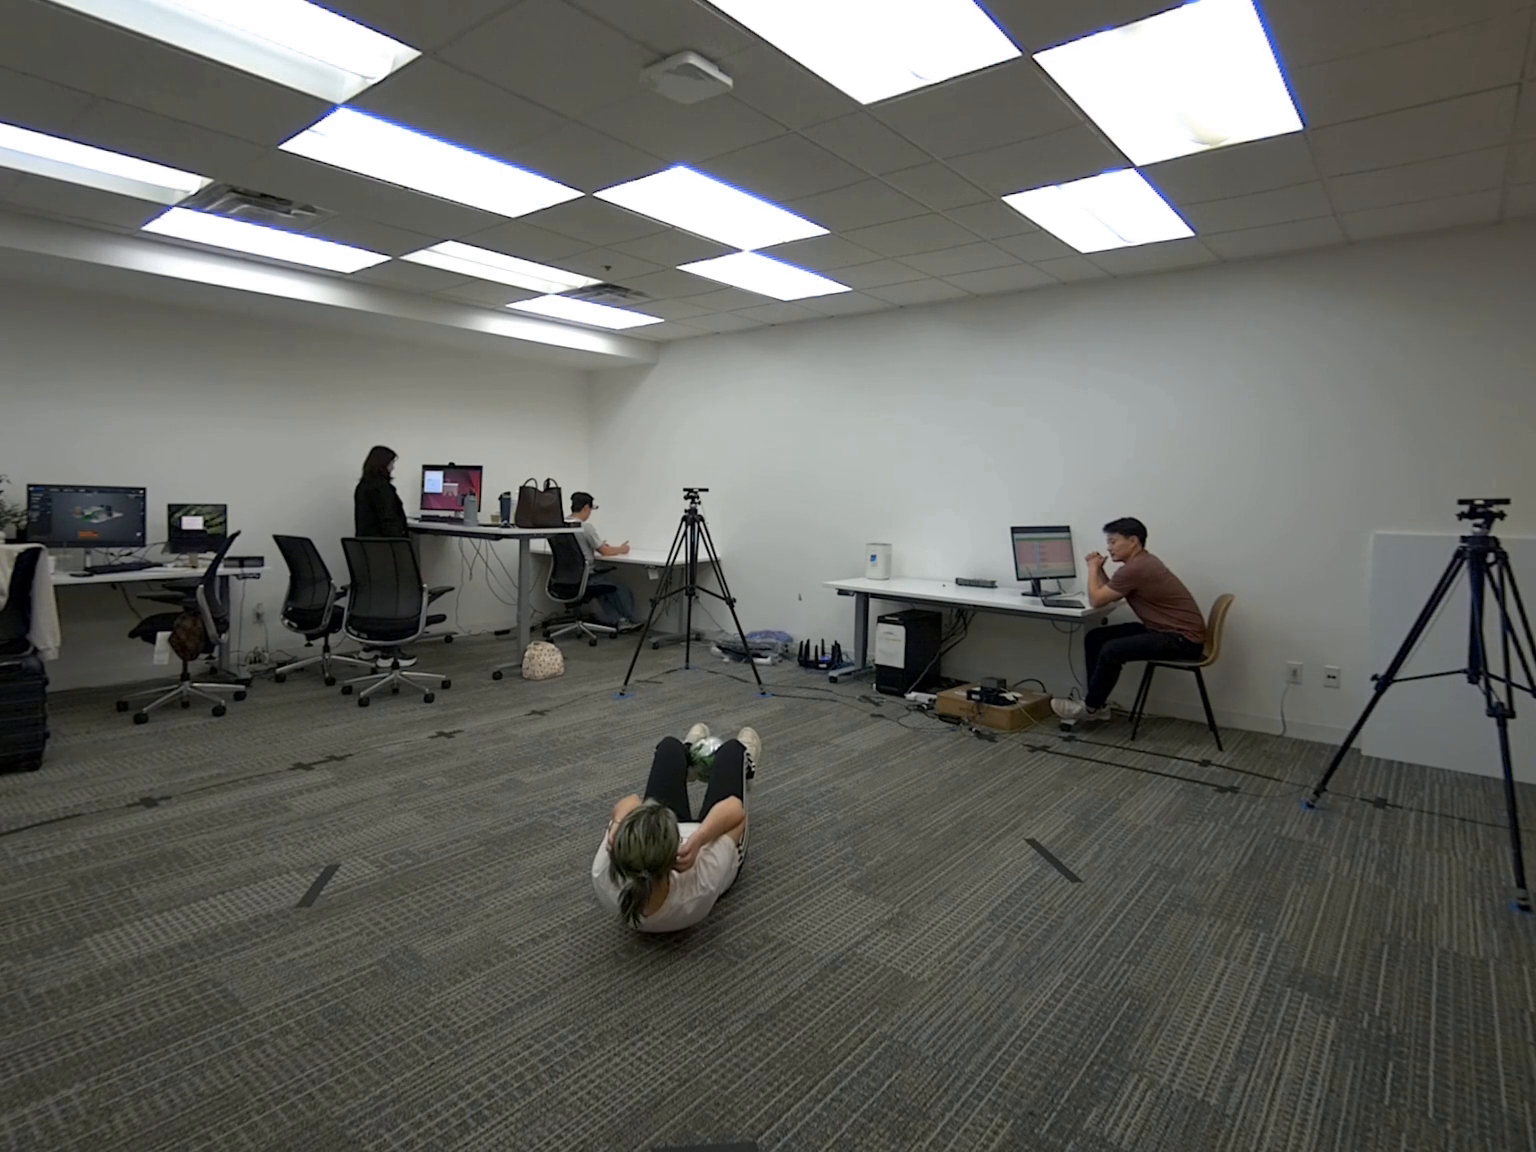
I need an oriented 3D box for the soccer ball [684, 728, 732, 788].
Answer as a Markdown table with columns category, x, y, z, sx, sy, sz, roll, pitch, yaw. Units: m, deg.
| category | x | y | z | sx | sy | sz | roll | pitch | yaw |
| --- | --- | --- | --- | --- | --- | --- | --- | --- | --- |
| soccer ball | -0.250 | 0.747 | 3.474 | 0.187 | 0.187 | 0.188 | 1 | 4 | -2 |
